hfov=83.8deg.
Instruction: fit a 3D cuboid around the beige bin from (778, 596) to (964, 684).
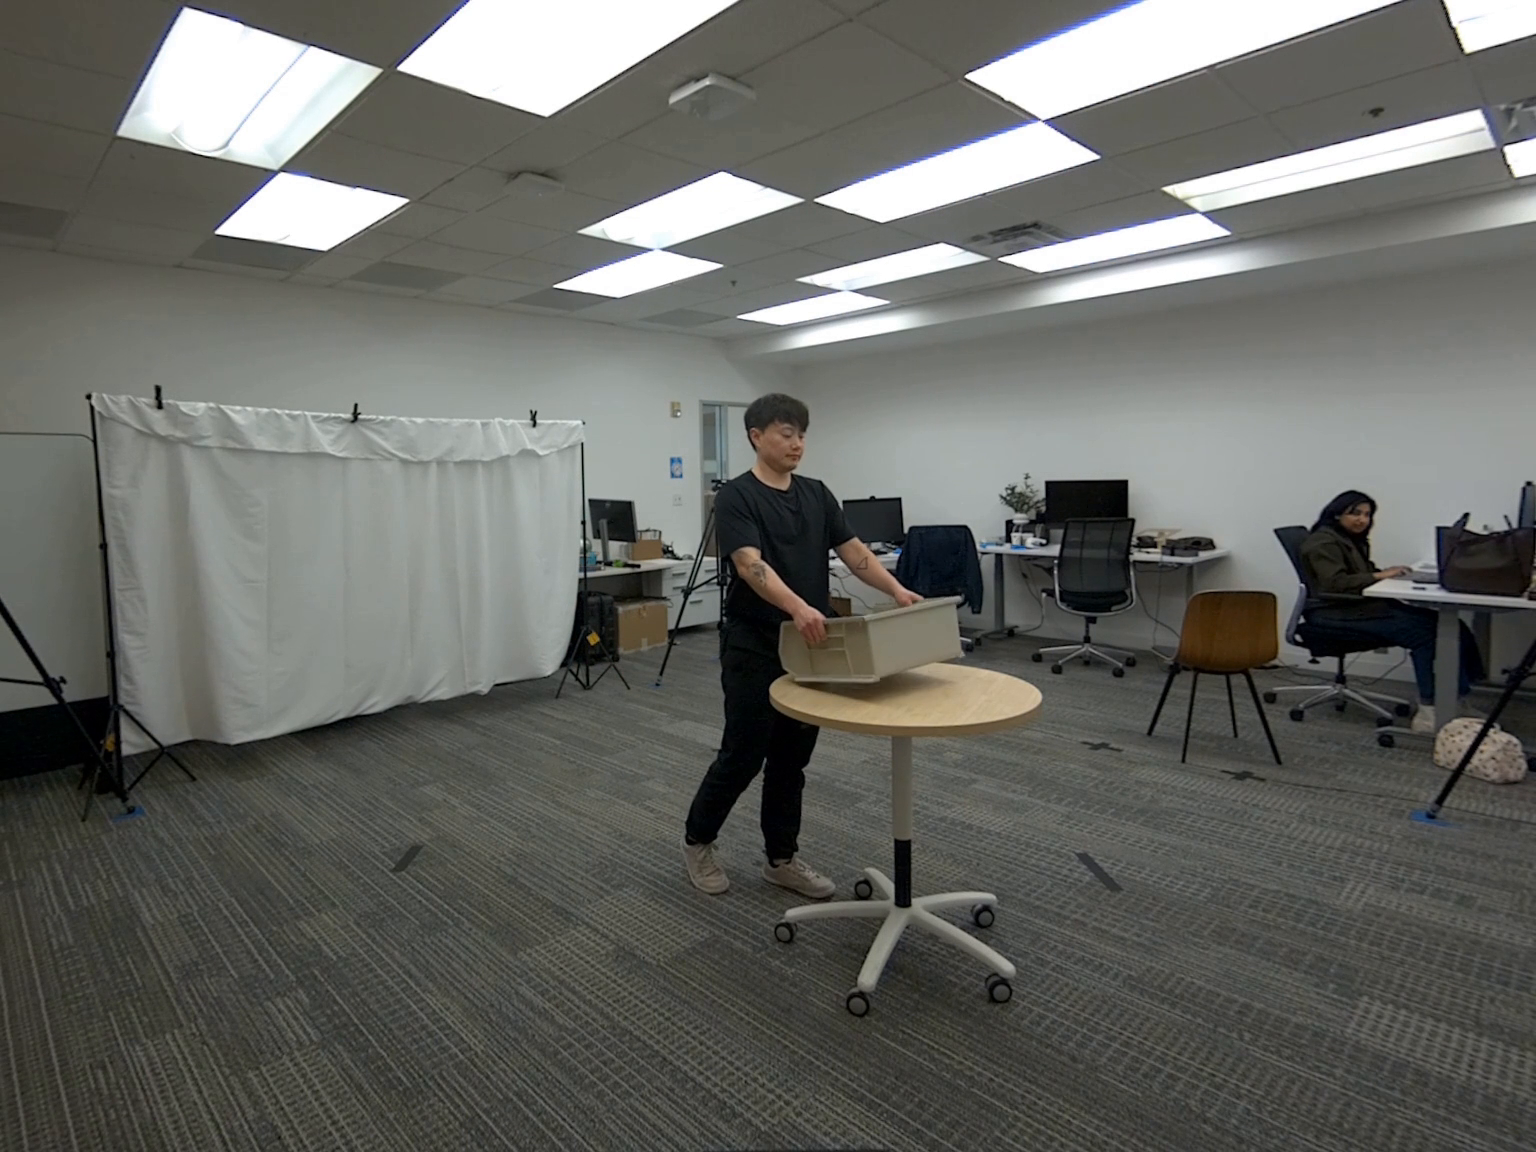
[{"bbox_3d":[0.308,0.187,2.559,0.411,0.189,0.387,-7,1,-39],"label":"beige bin"}]
